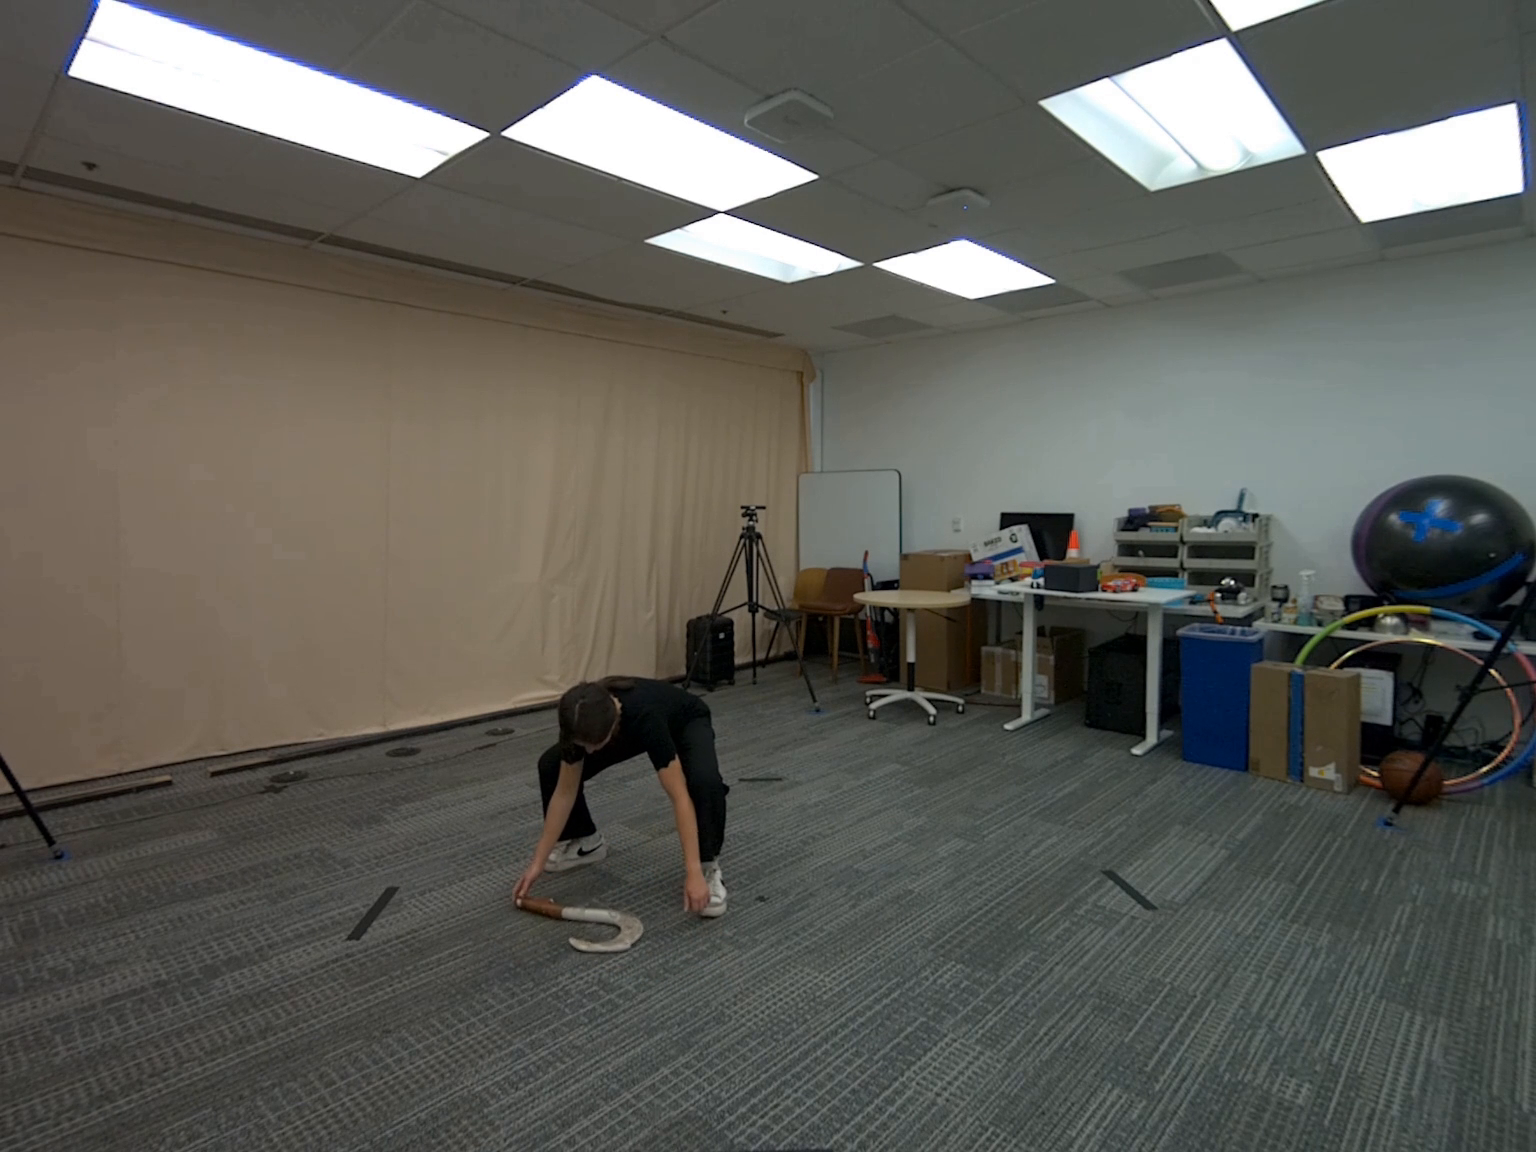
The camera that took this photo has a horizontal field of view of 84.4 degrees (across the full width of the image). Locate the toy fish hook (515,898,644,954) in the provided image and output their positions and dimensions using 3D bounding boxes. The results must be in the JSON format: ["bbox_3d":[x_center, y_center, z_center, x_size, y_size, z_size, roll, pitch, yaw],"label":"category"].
[{"bbox_3d":[-0.651,1.144,2.778,0.519,0.048,0.219,2,3,24],"label":"toy fish hook"}]
